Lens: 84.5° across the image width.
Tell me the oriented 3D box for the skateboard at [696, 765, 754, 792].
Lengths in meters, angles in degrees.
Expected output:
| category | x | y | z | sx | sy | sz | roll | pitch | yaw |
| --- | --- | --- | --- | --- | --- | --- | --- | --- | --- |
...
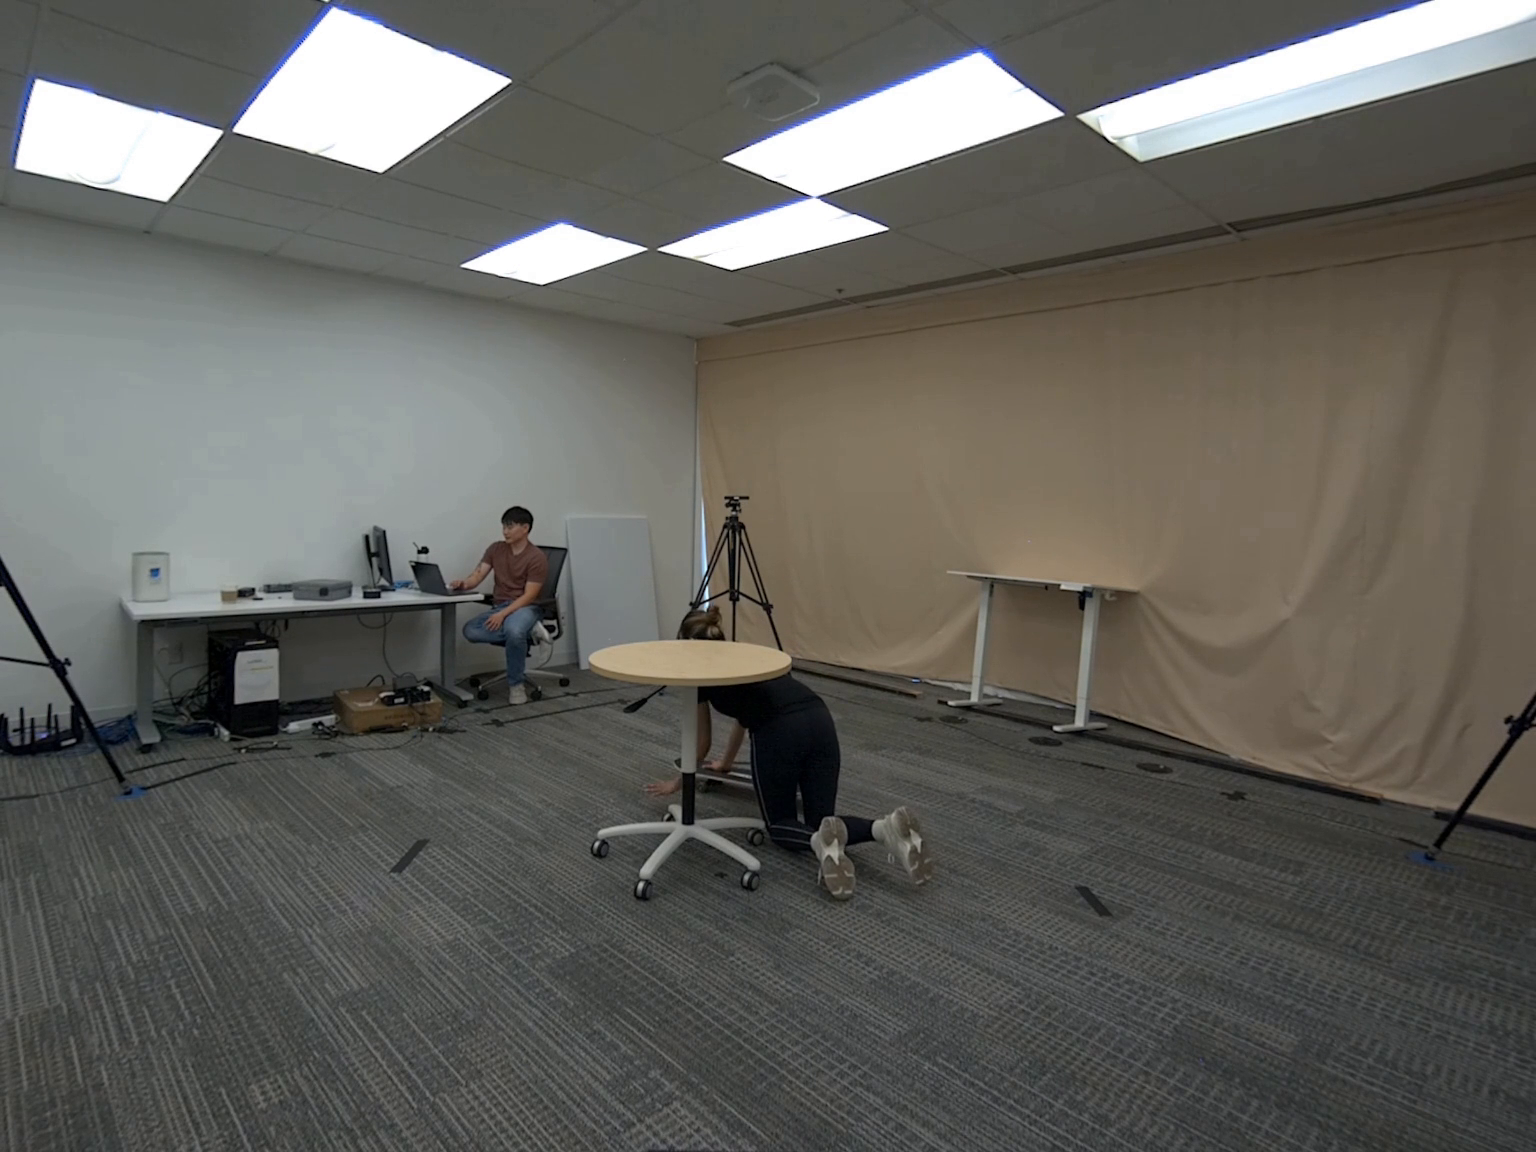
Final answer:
| category | x | y | z | sx | sy | sz | roll | pitch | yaw |
| --- | --- | --- | --- | --- | --- | --- | --- | --- | --- |
| skateboard | -0.103 | 0.976 | 3.958 | 0.802 | 0.110 | 0.190 | 5 | 4 | 28 |
